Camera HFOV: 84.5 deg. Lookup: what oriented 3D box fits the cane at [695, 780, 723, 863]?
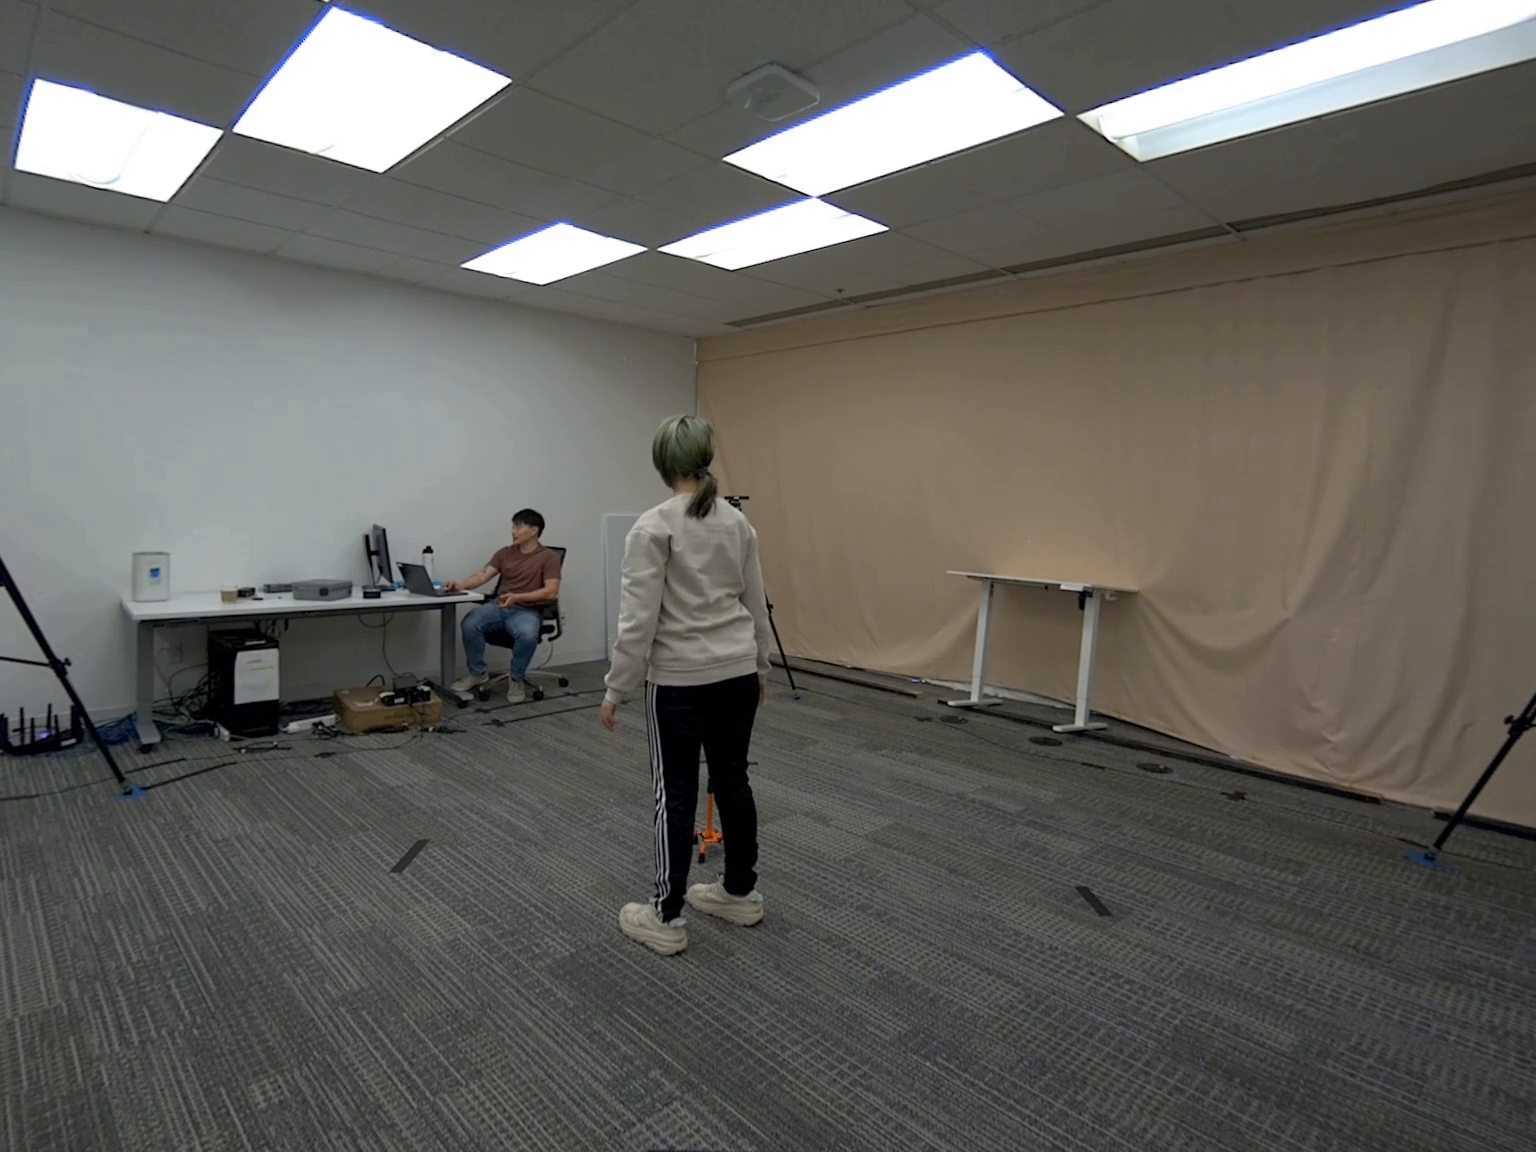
[{"bbox_3d":[-0.207,0.637,3.285,0.150,0.906,0.208,1,2,-11],"label":"cane"}]
